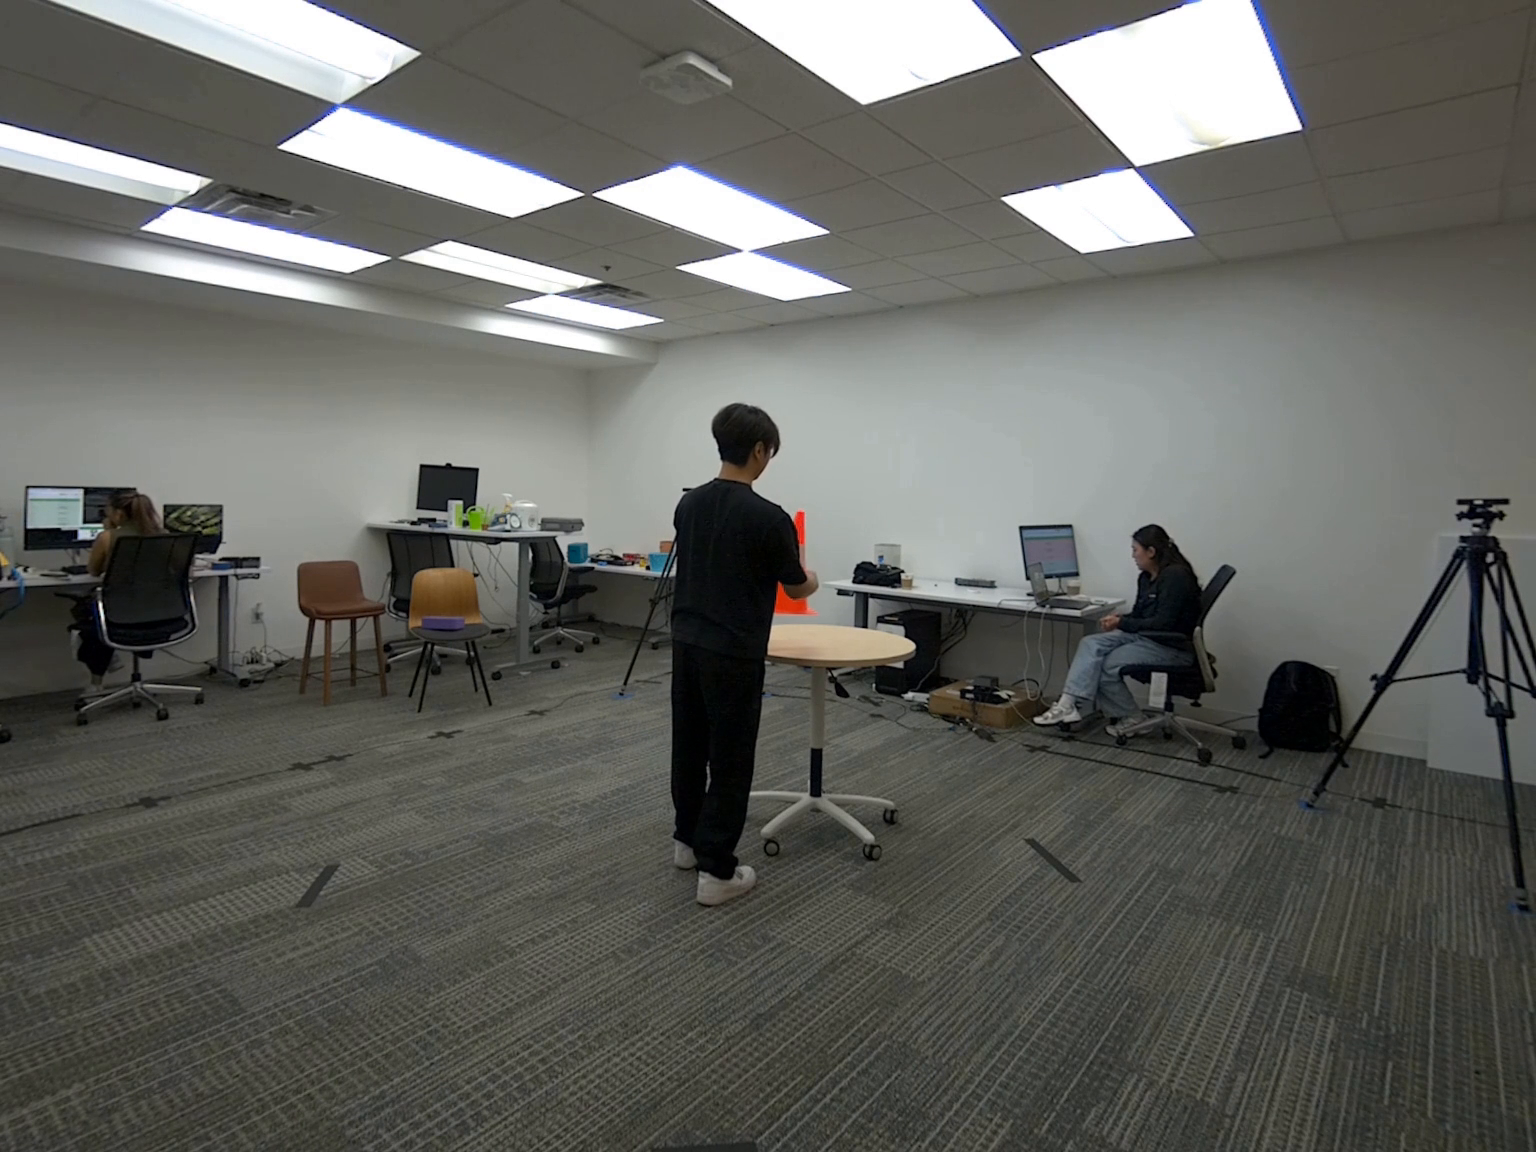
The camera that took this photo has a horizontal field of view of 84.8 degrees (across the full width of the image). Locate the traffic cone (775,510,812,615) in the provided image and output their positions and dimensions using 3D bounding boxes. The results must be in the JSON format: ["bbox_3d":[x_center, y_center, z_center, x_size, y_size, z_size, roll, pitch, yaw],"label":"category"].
[{"bbox_3d":[0.093,-0.066,3.269,0.199,0.381,0.211,2,11,-35],"label":"traffic cone"}]
